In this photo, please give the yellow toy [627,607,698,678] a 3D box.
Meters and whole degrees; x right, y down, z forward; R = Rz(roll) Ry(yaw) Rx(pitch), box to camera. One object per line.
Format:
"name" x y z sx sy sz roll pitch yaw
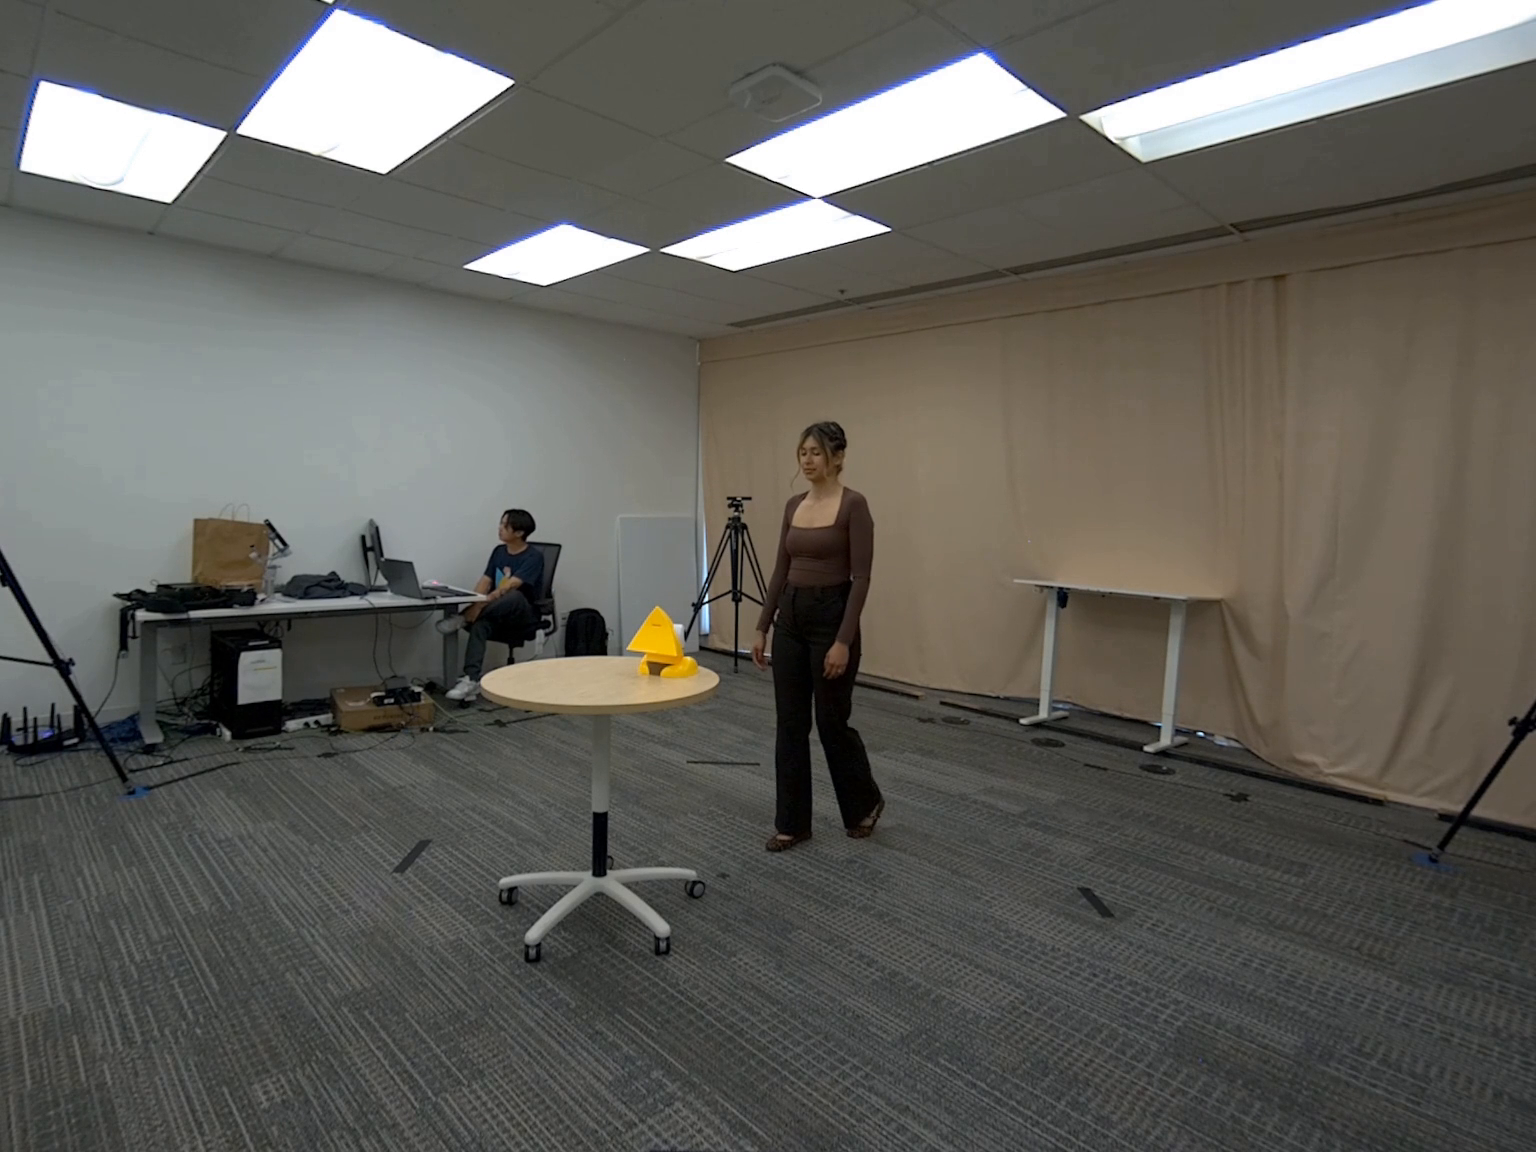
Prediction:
"yellow toy" -0.348 0.214 2.851 0.209 0.230 0.189 3 4 29
